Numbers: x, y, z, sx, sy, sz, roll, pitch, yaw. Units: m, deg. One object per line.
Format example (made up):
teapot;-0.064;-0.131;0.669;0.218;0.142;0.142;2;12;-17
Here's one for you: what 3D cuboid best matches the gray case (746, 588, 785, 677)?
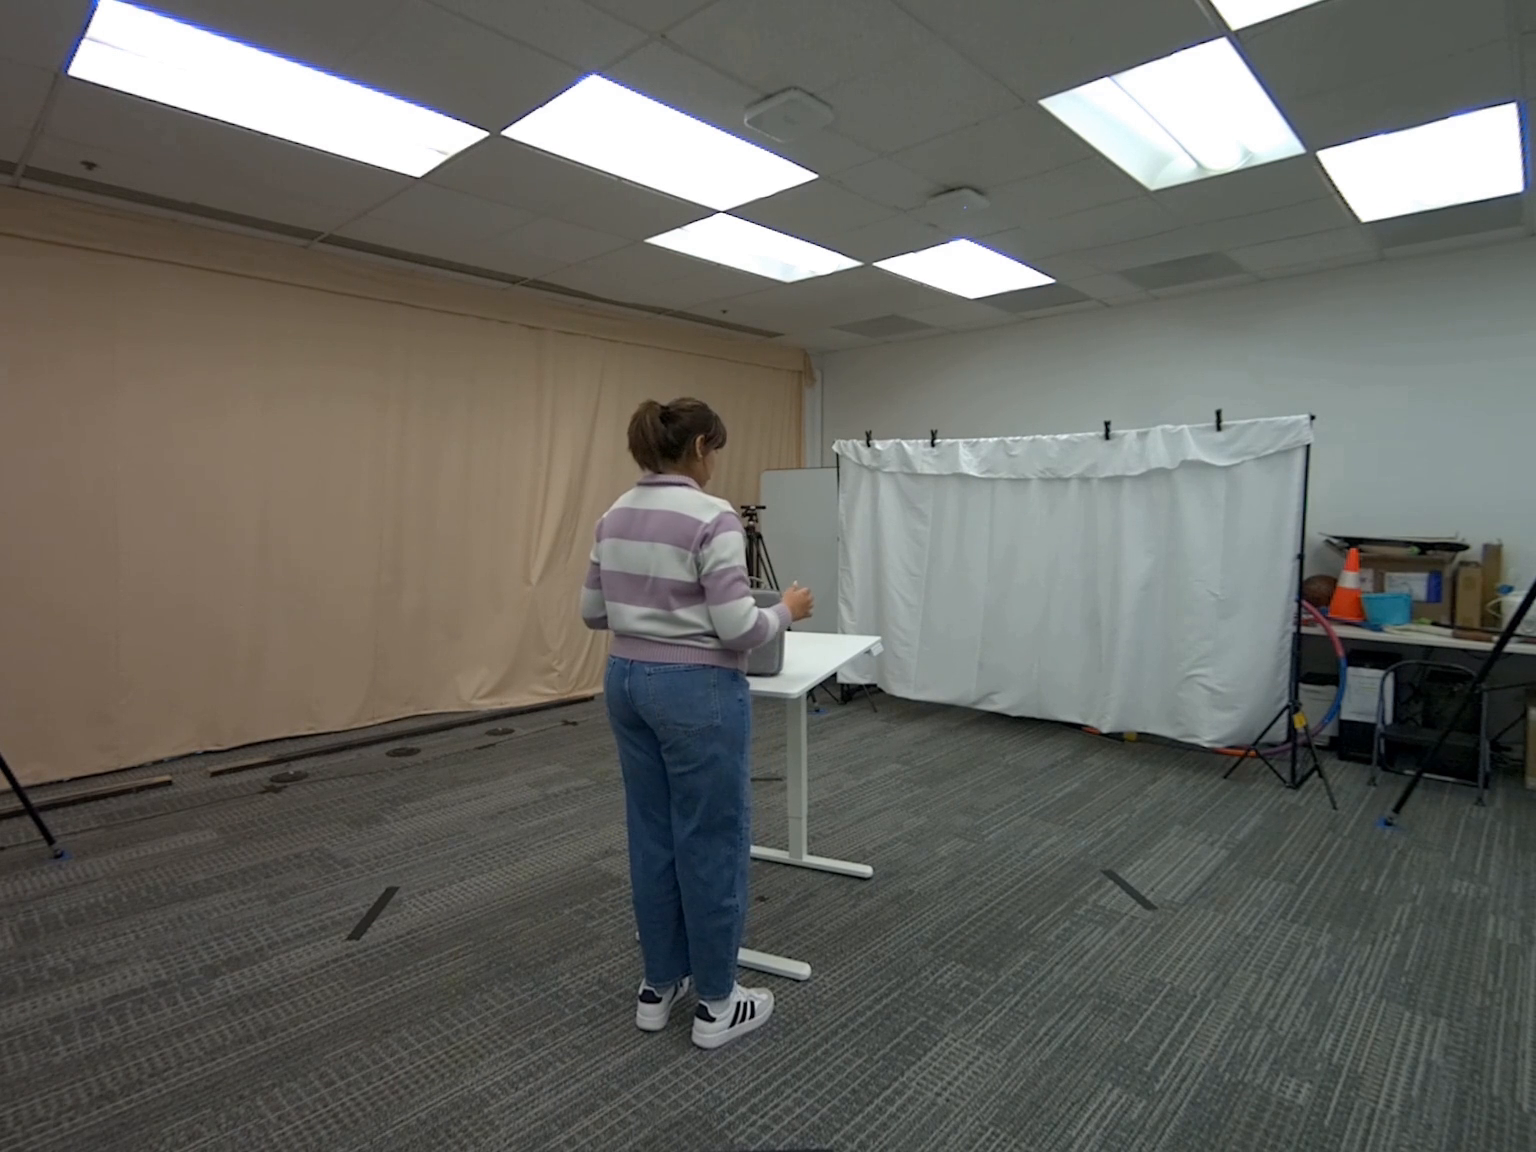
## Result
gray case;-0.073;0.168;2.580;0.261;0.261;0.102;1;-7;16
